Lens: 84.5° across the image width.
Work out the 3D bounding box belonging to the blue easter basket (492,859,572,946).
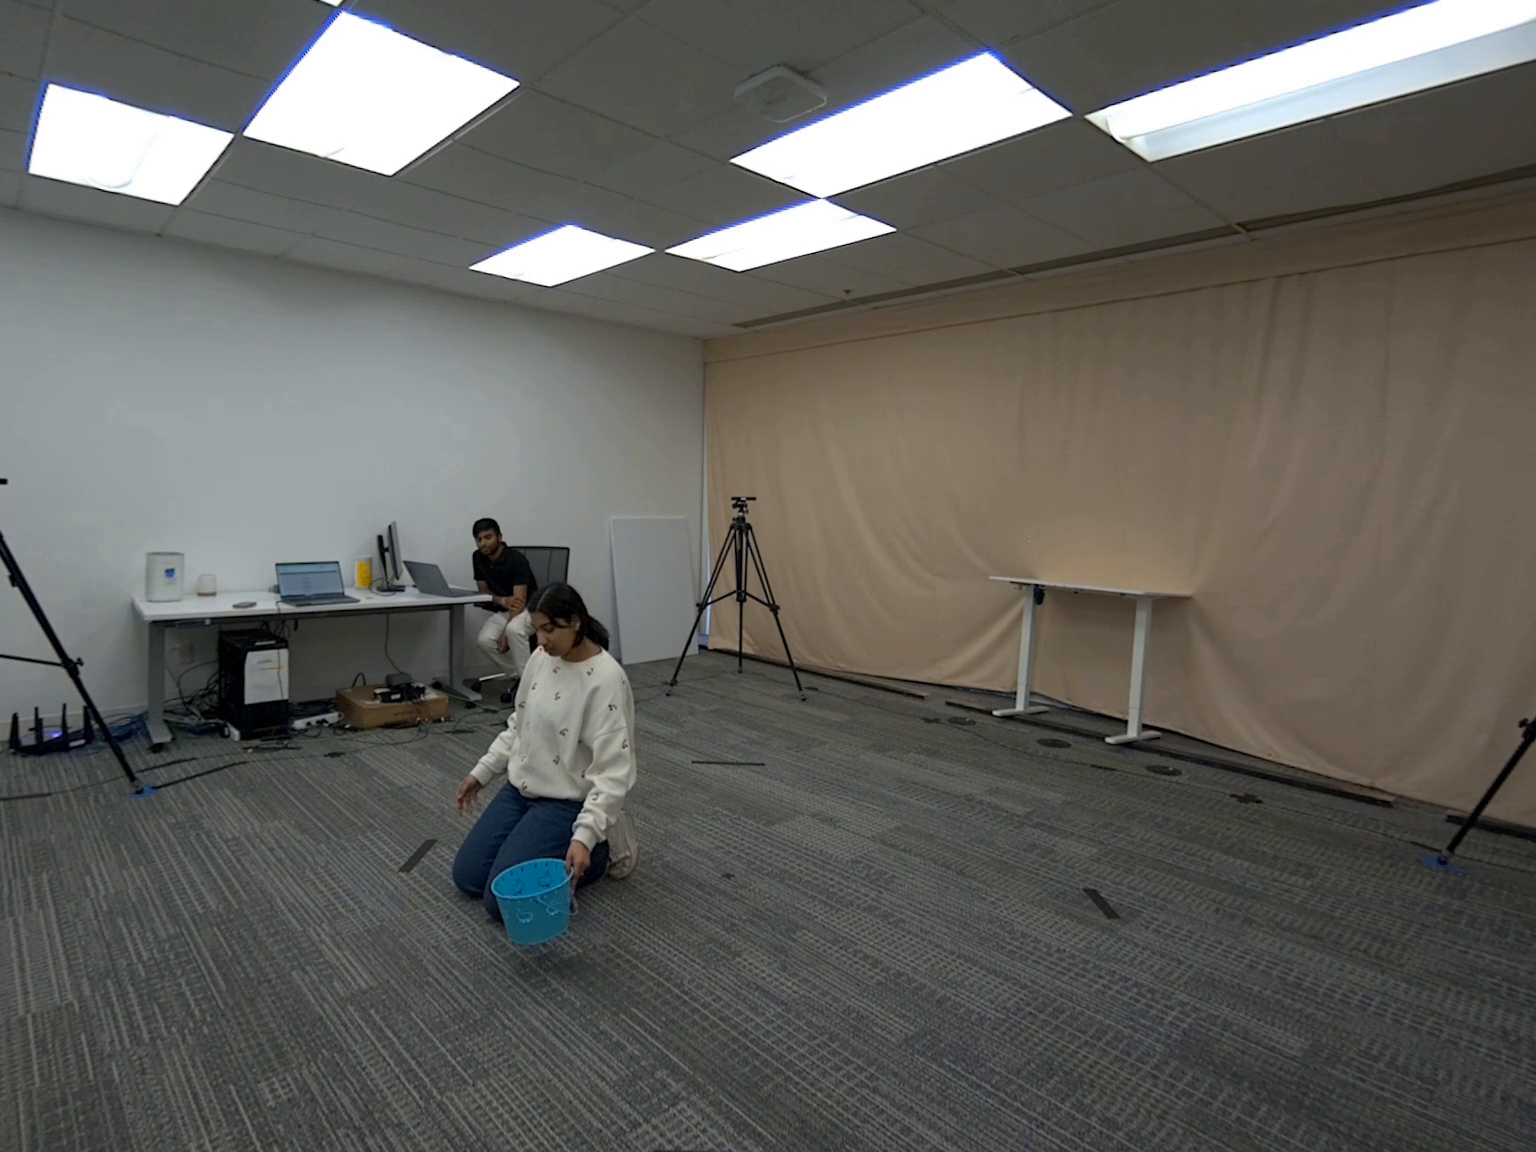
[{"bbox_3d":[-0.701,0.960,2.467,0.243,0.155,0.245,-6,7,-1],"label":"blue easter basket"}]
